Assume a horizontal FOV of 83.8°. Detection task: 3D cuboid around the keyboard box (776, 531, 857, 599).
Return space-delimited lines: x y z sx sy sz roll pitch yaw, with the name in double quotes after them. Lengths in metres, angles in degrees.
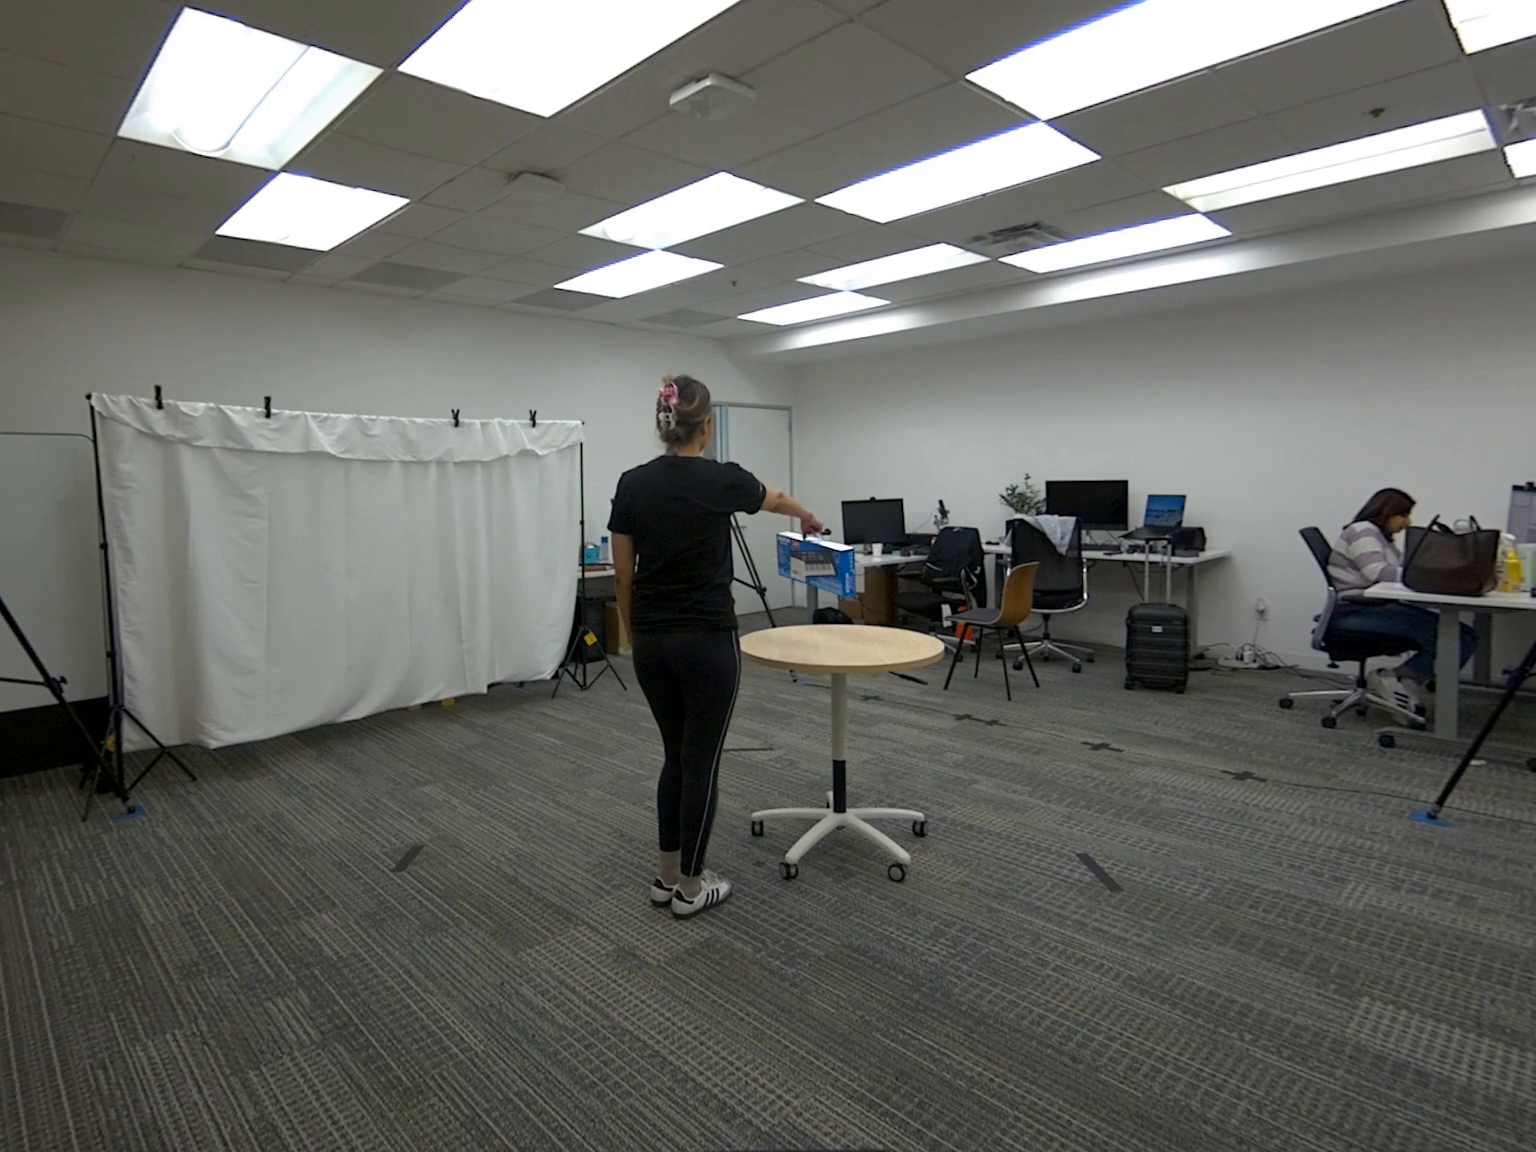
0.175 -0.047 3.240 0.058 0.174 0.451 -10 14 -29 "keyboard box"
